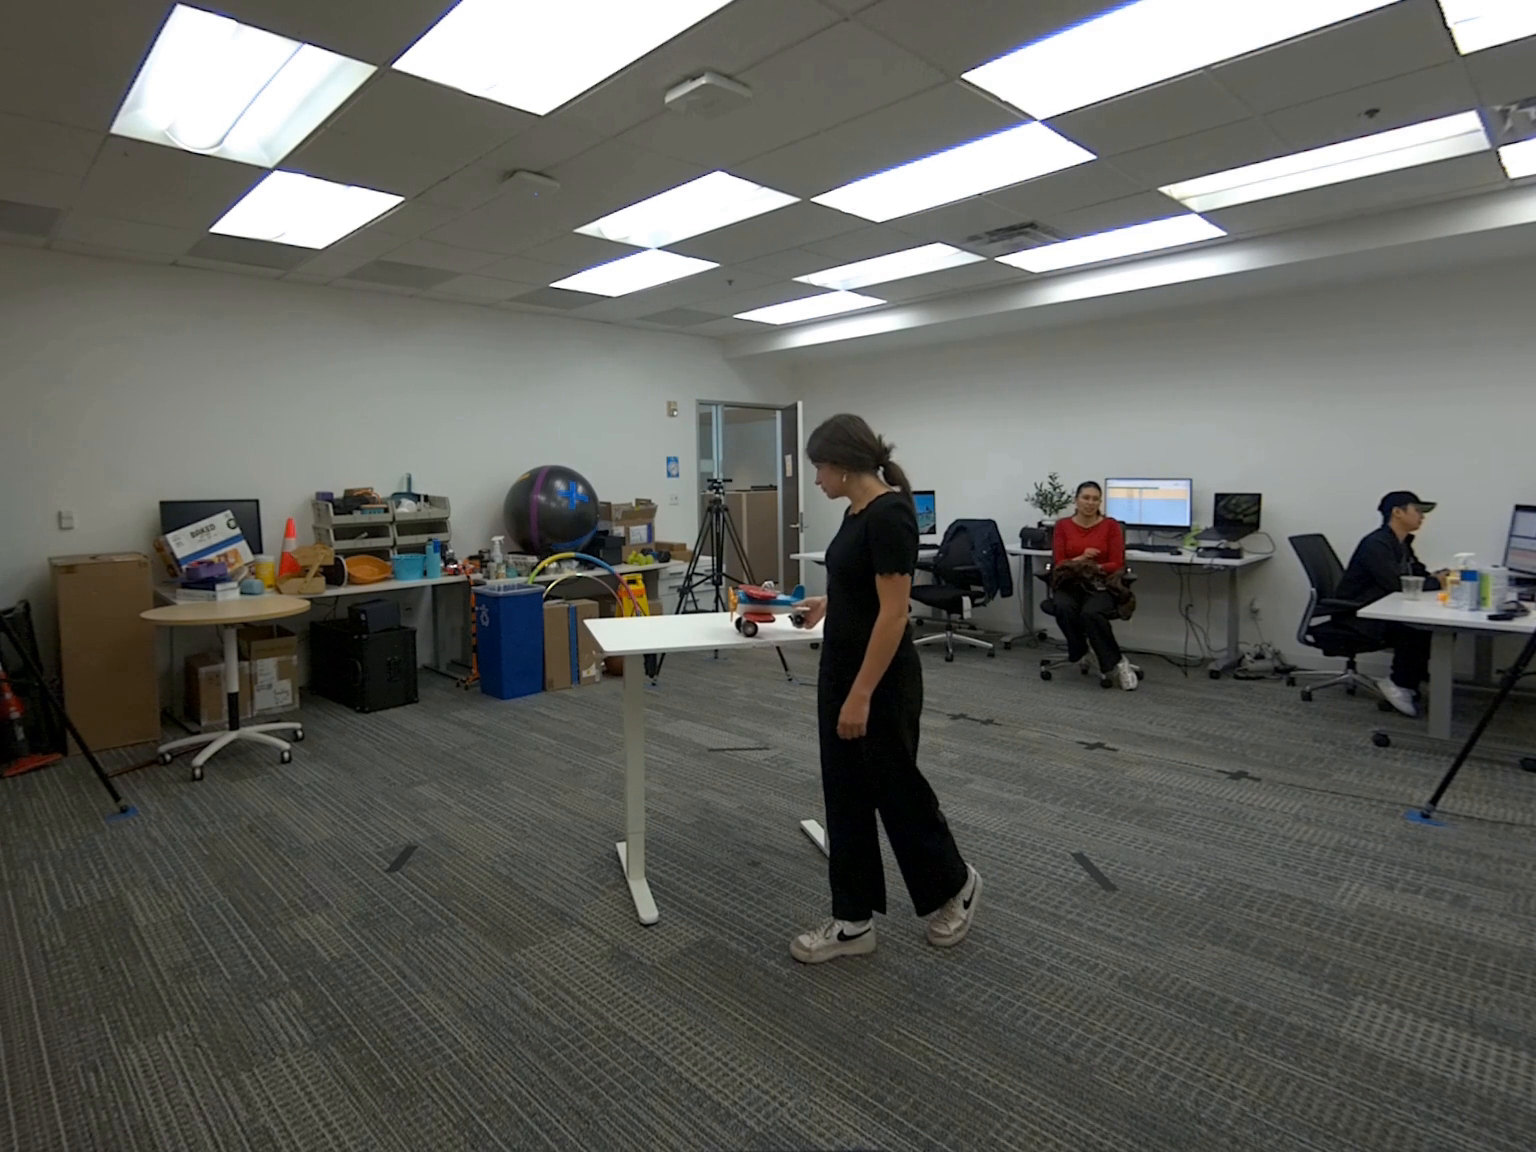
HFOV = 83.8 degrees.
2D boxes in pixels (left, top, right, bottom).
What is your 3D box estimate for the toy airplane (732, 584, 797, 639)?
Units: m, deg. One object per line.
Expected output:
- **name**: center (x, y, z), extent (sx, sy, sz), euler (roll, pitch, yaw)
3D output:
- **toy airplane**: center (0.000, 0.100, 2.863), extent (0.254, 0.155, 0.258), euler (-16, 11, -39)
